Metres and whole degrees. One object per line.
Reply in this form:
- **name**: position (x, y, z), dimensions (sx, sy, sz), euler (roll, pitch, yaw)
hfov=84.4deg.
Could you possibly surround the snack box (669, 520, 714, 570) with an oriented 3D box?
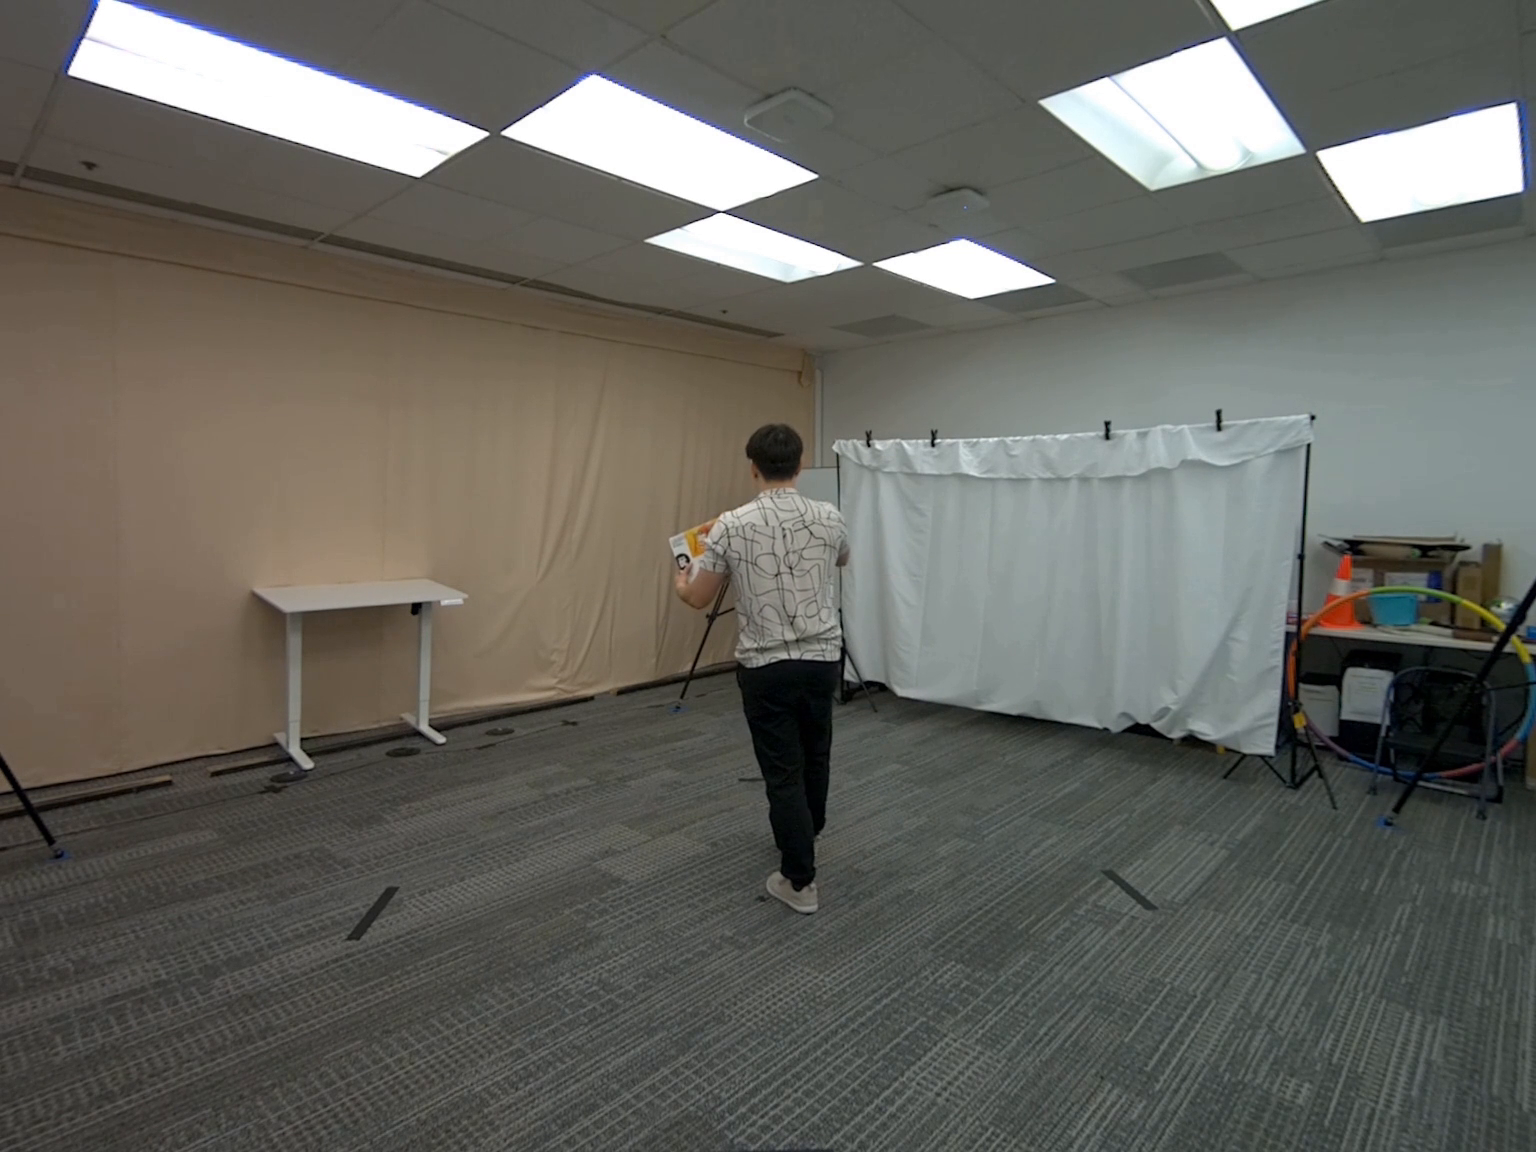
- **snack box**: position (-0.135, -0.117, 3.354), dimensions (0.408, 0.207, 0.335), euler (-22, -8, 10)
